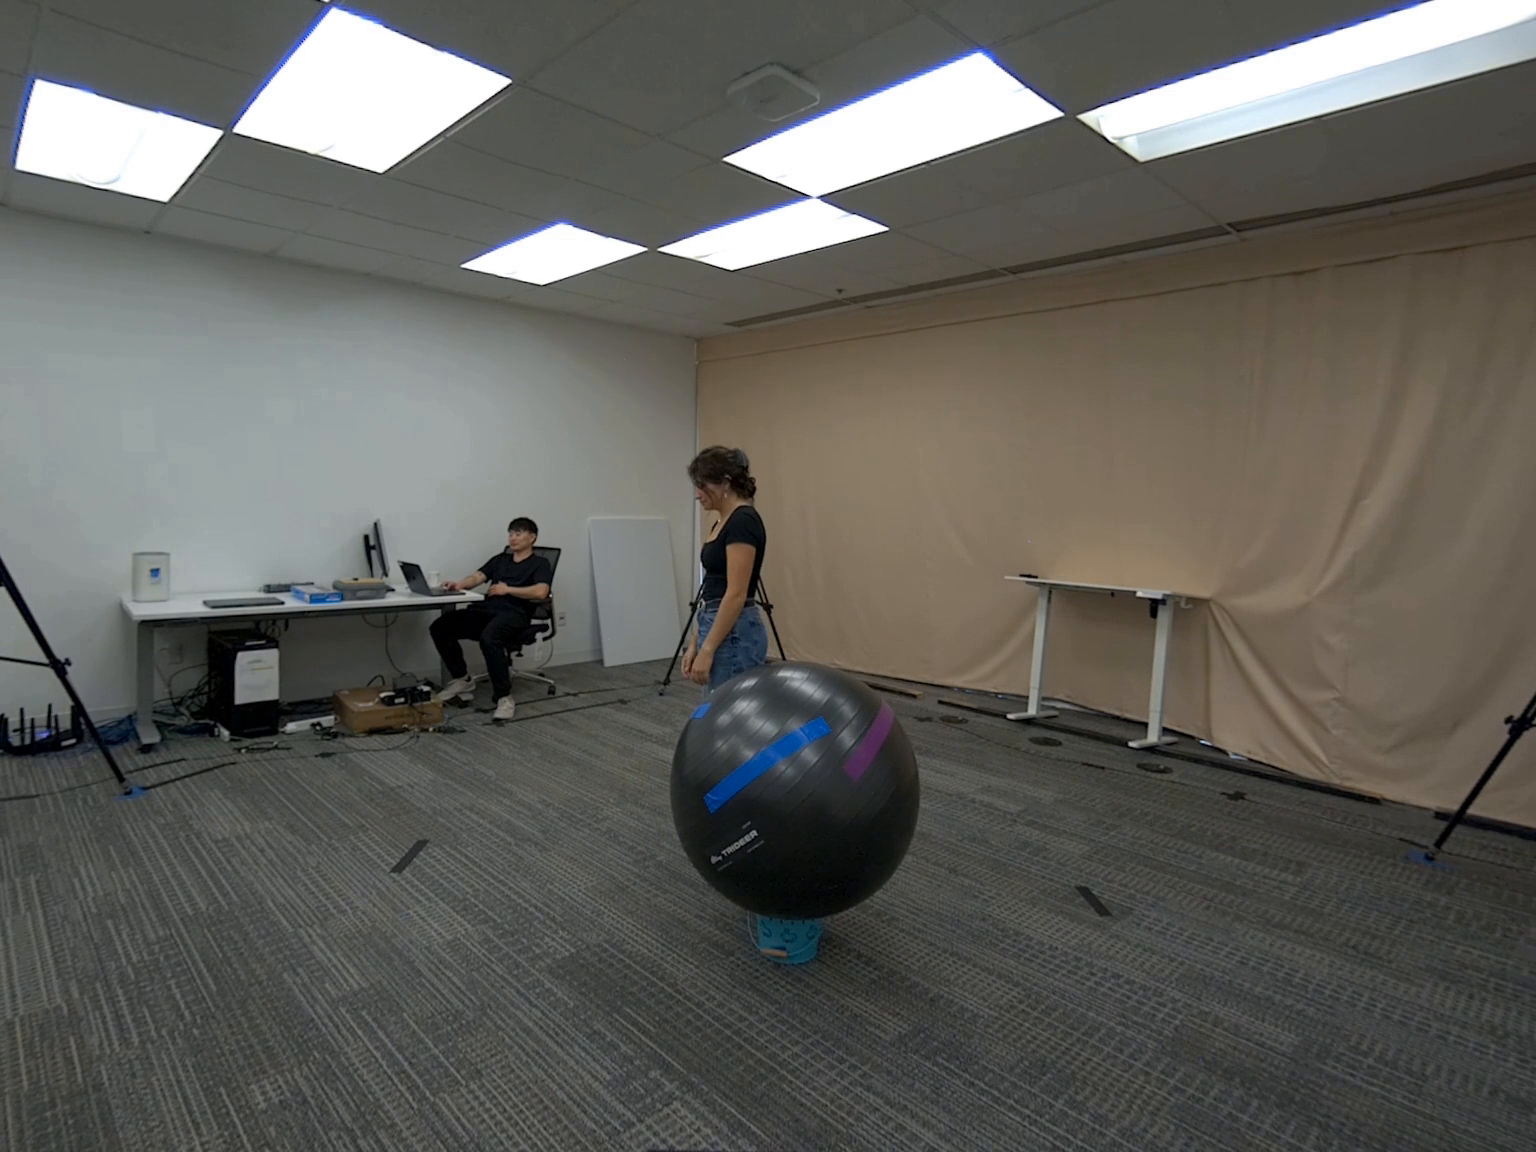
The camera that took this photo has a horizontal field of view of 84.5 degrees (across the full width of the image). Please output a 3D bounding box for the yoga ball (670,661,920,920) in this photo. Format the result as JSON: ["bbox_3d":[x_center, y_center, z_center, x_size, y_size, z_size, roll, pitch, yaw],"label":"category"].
[{"bbox_3d":[0.075,0.645,2.576,0.757,0.756,0.761,1,4,-1],"label":"yoga ball"}]
